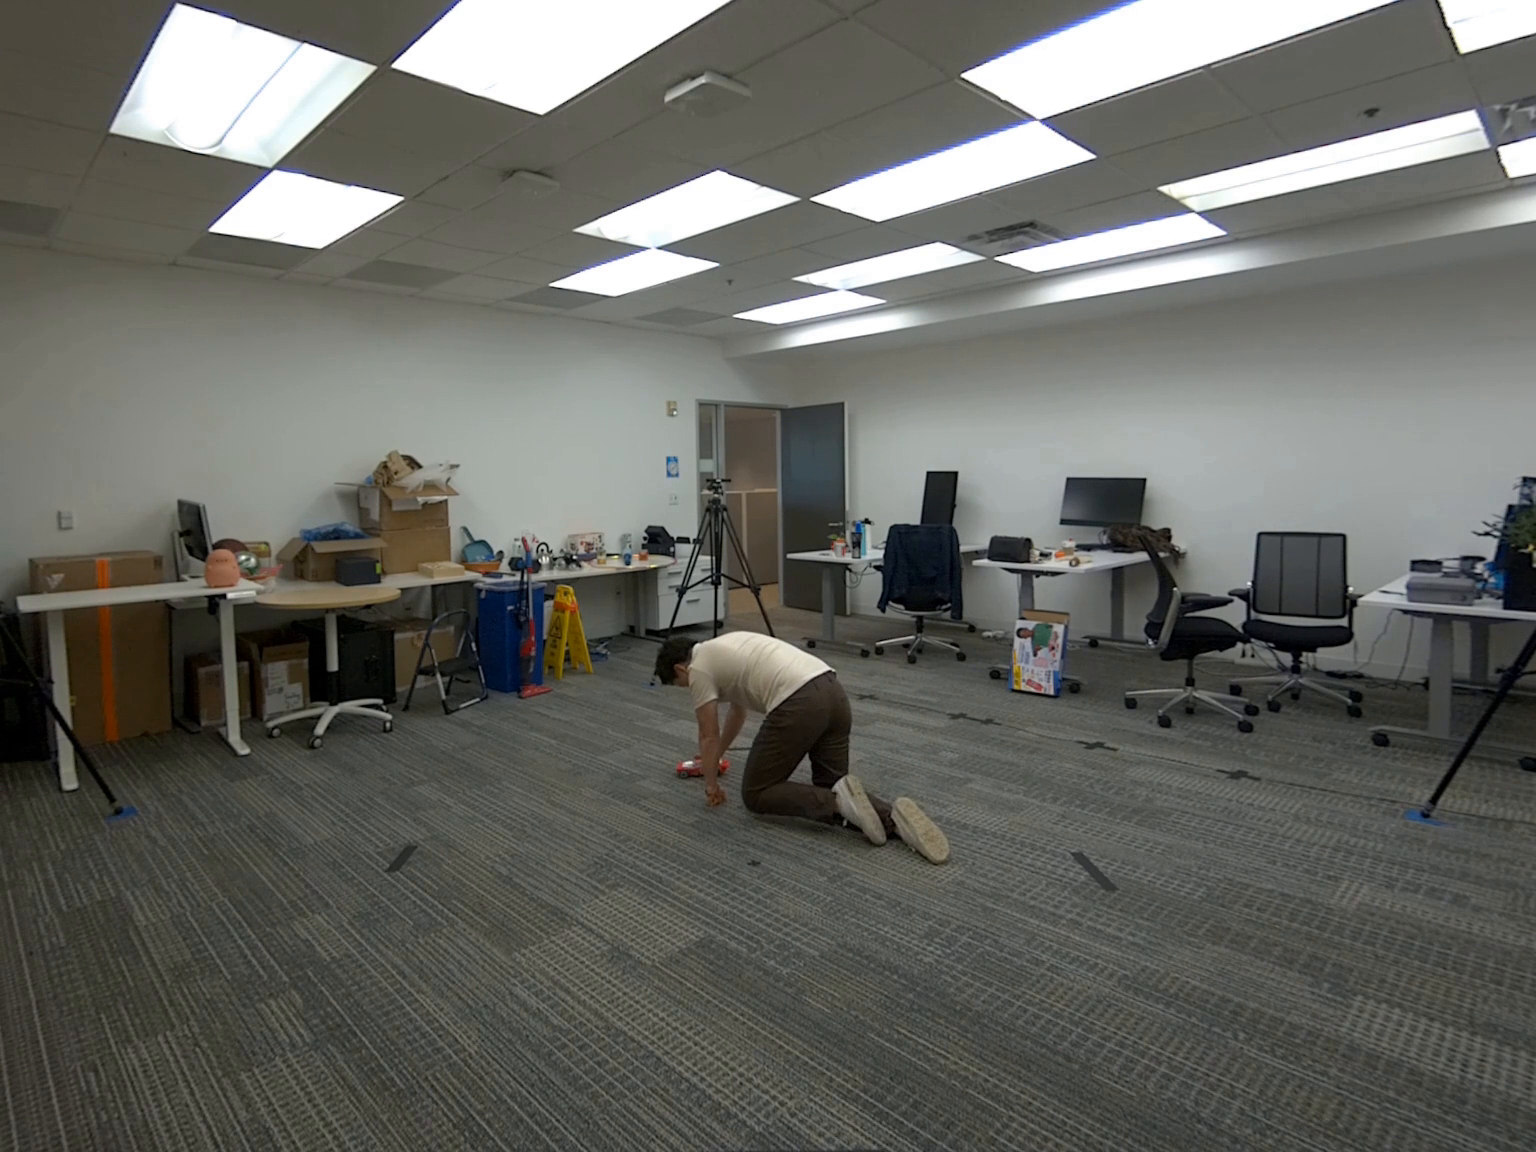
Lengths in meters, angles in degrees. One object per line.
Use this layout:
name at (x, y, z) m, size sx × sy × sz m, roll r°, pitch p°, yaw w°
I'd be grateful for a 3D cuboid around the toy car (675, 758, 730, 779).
toy car at (-0.310, 0.913, 4.072) m, size 0.254 × 0.083 × 0.131 m, roll -10°, pitch 7°, yaw -2°
